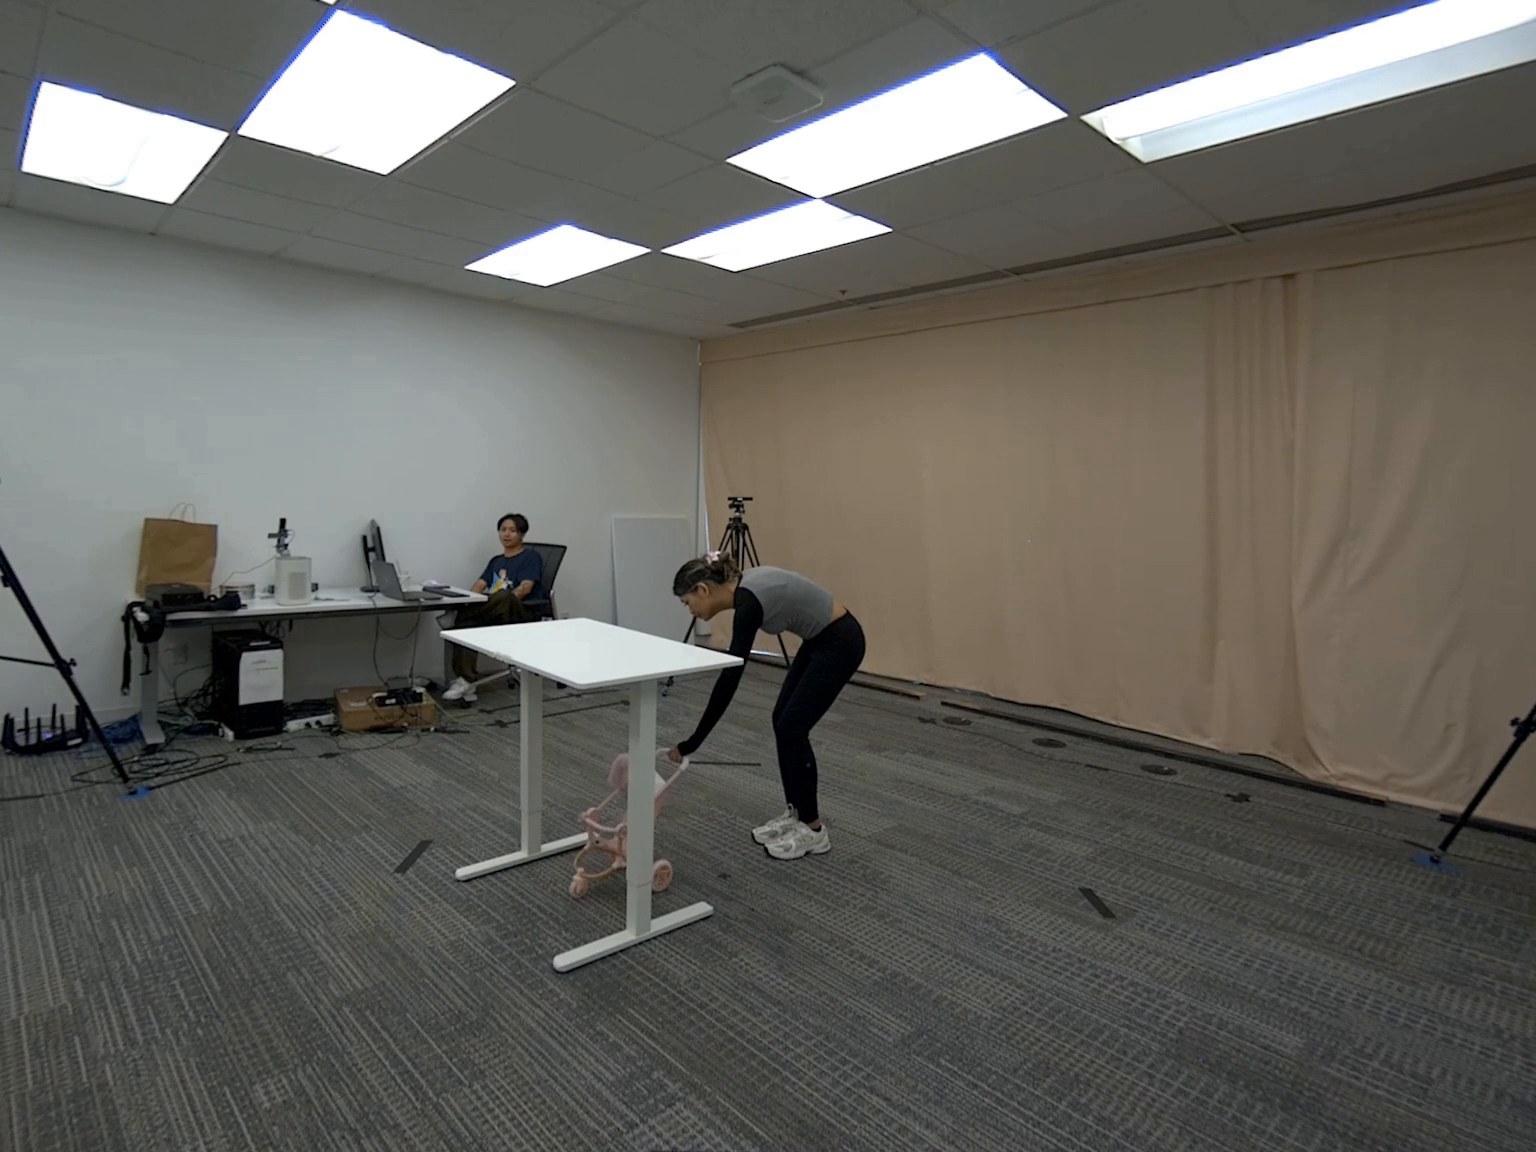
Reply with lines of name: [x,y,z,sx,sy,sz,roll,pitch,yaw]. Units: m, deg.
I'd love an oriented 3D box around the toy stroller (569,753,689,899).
toy stroller: [-0.517,0.880,3.016,0.332,0.536,0.288,17,-6,-37]
